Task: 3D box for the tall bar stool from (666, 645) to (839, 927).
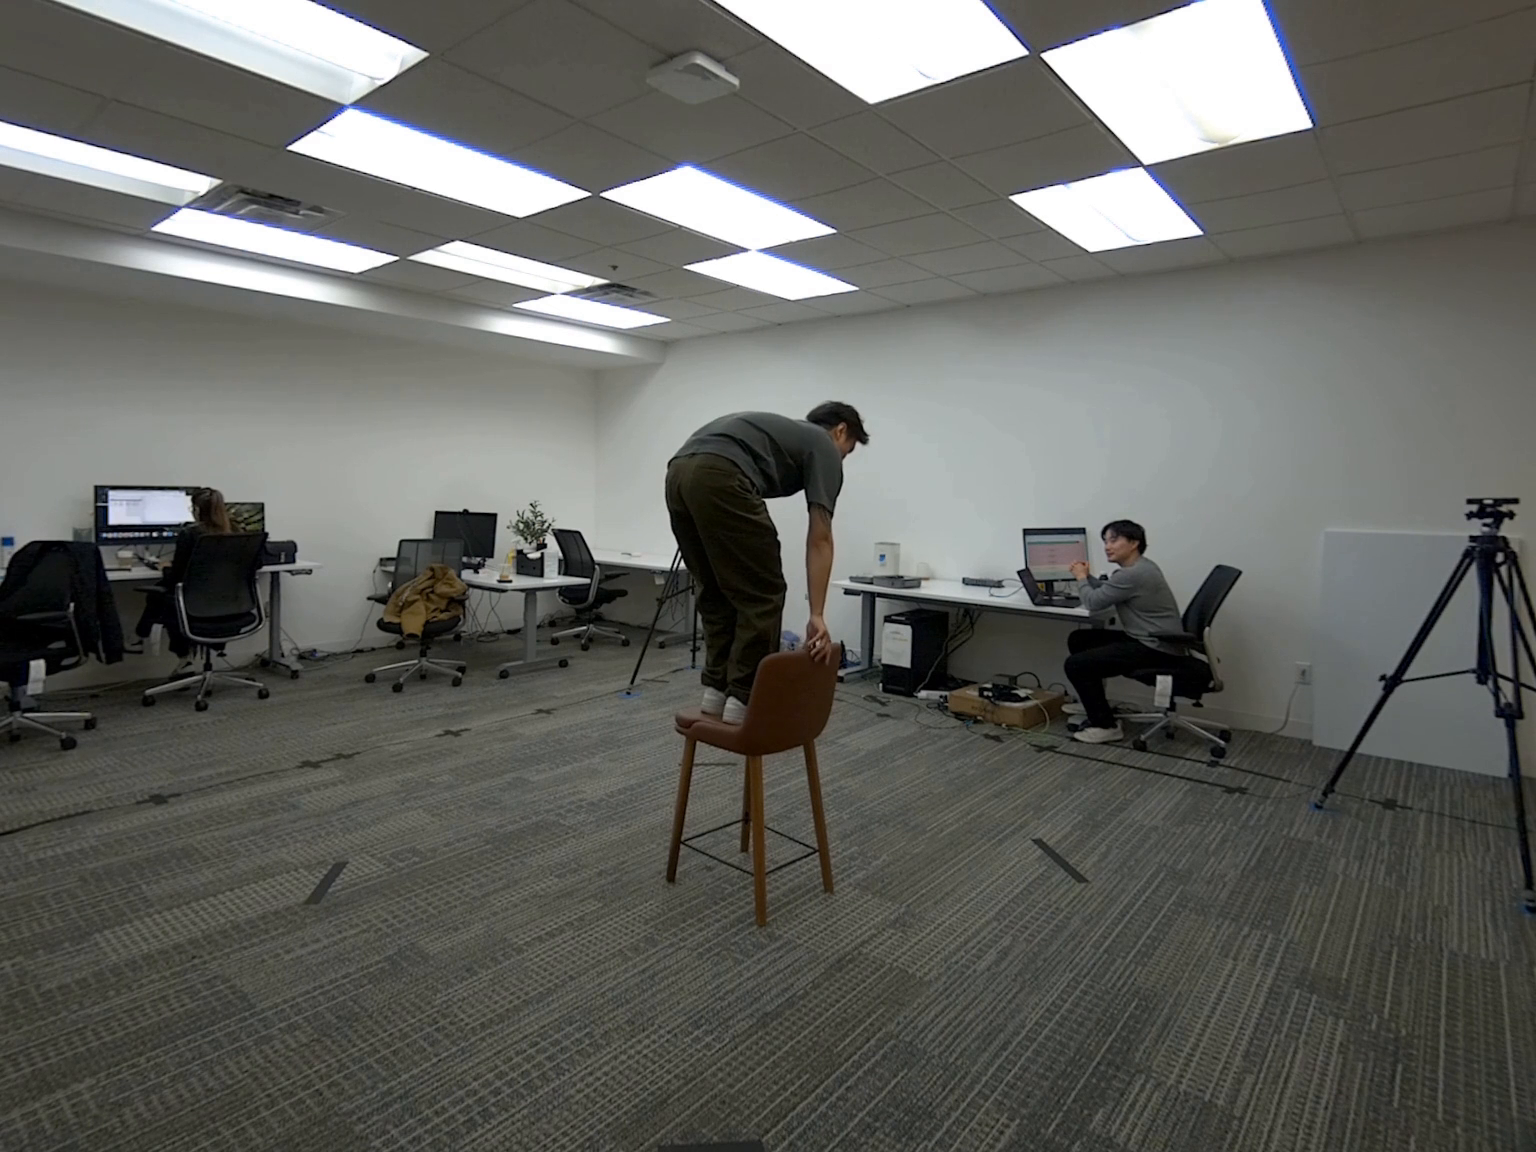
[{"bbox_3d":[-0.053,0.647,2.958,0.484,0.886,0.442,7,6,43],"label":"tall bar stool"}]
